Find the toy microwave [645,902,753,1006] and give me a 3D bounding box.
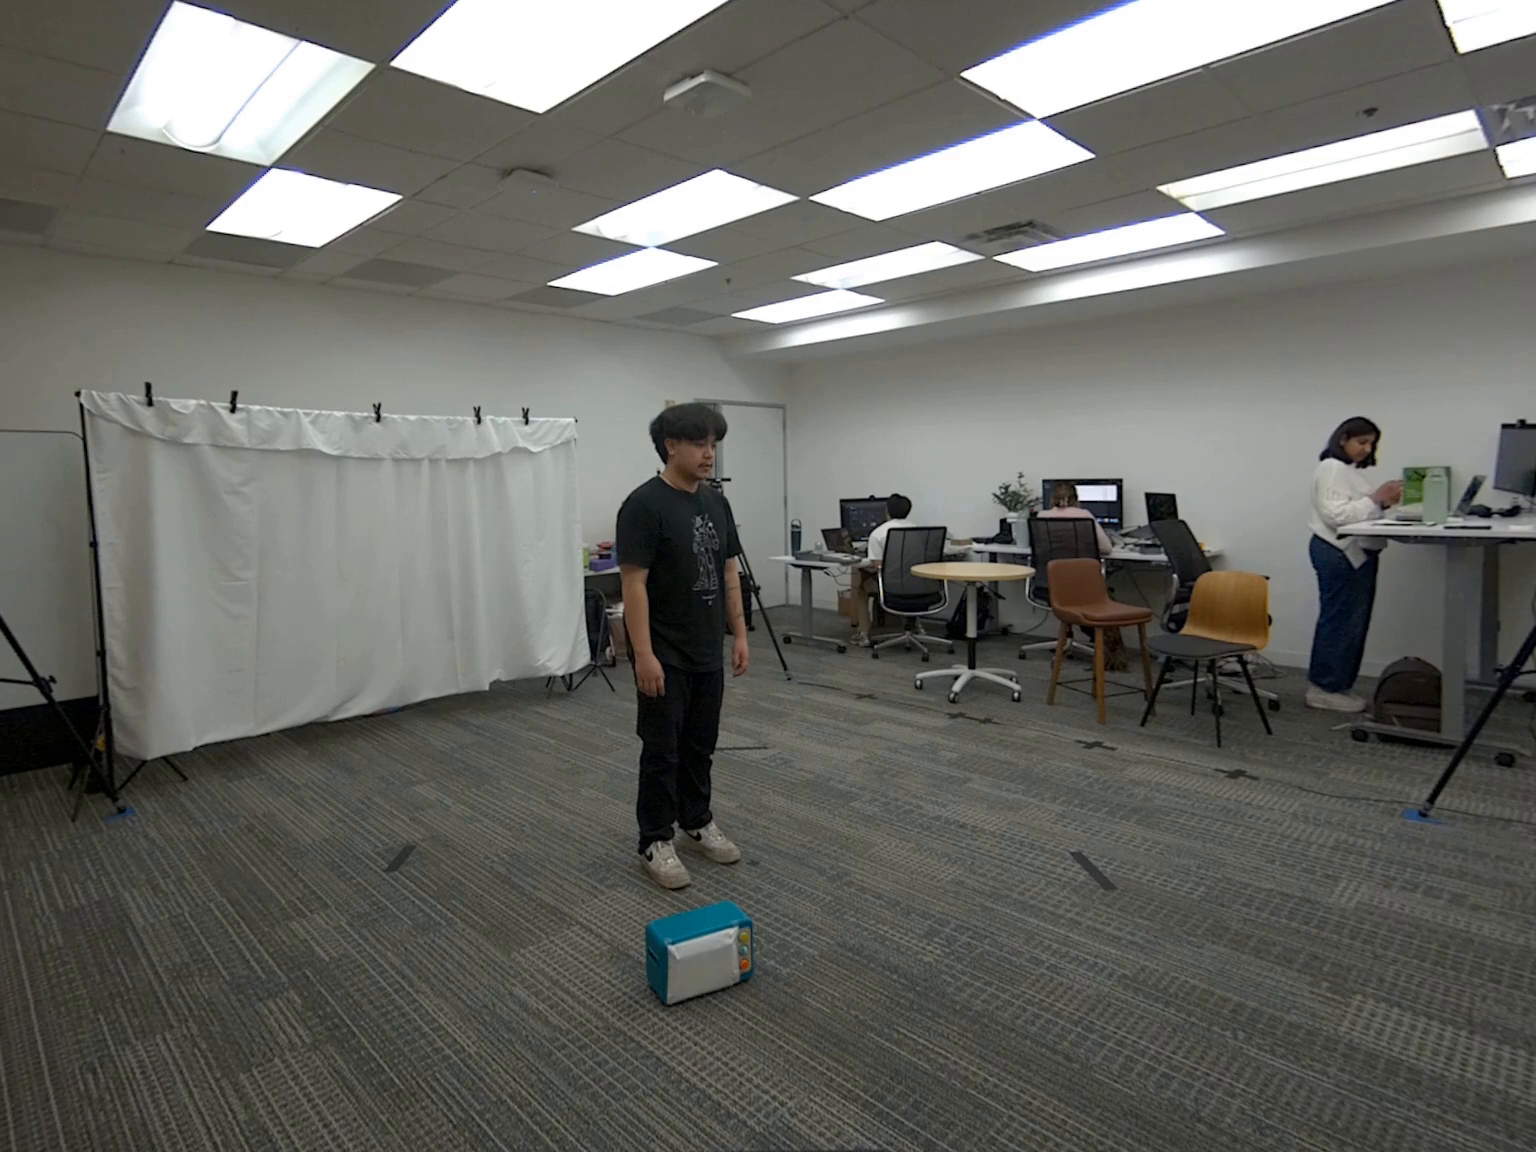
[{"bbox_3d":[-0.185,1.047,2.363,0.280,0.183,0.156,-4,6,-27],"label":"toy microwave"}]
